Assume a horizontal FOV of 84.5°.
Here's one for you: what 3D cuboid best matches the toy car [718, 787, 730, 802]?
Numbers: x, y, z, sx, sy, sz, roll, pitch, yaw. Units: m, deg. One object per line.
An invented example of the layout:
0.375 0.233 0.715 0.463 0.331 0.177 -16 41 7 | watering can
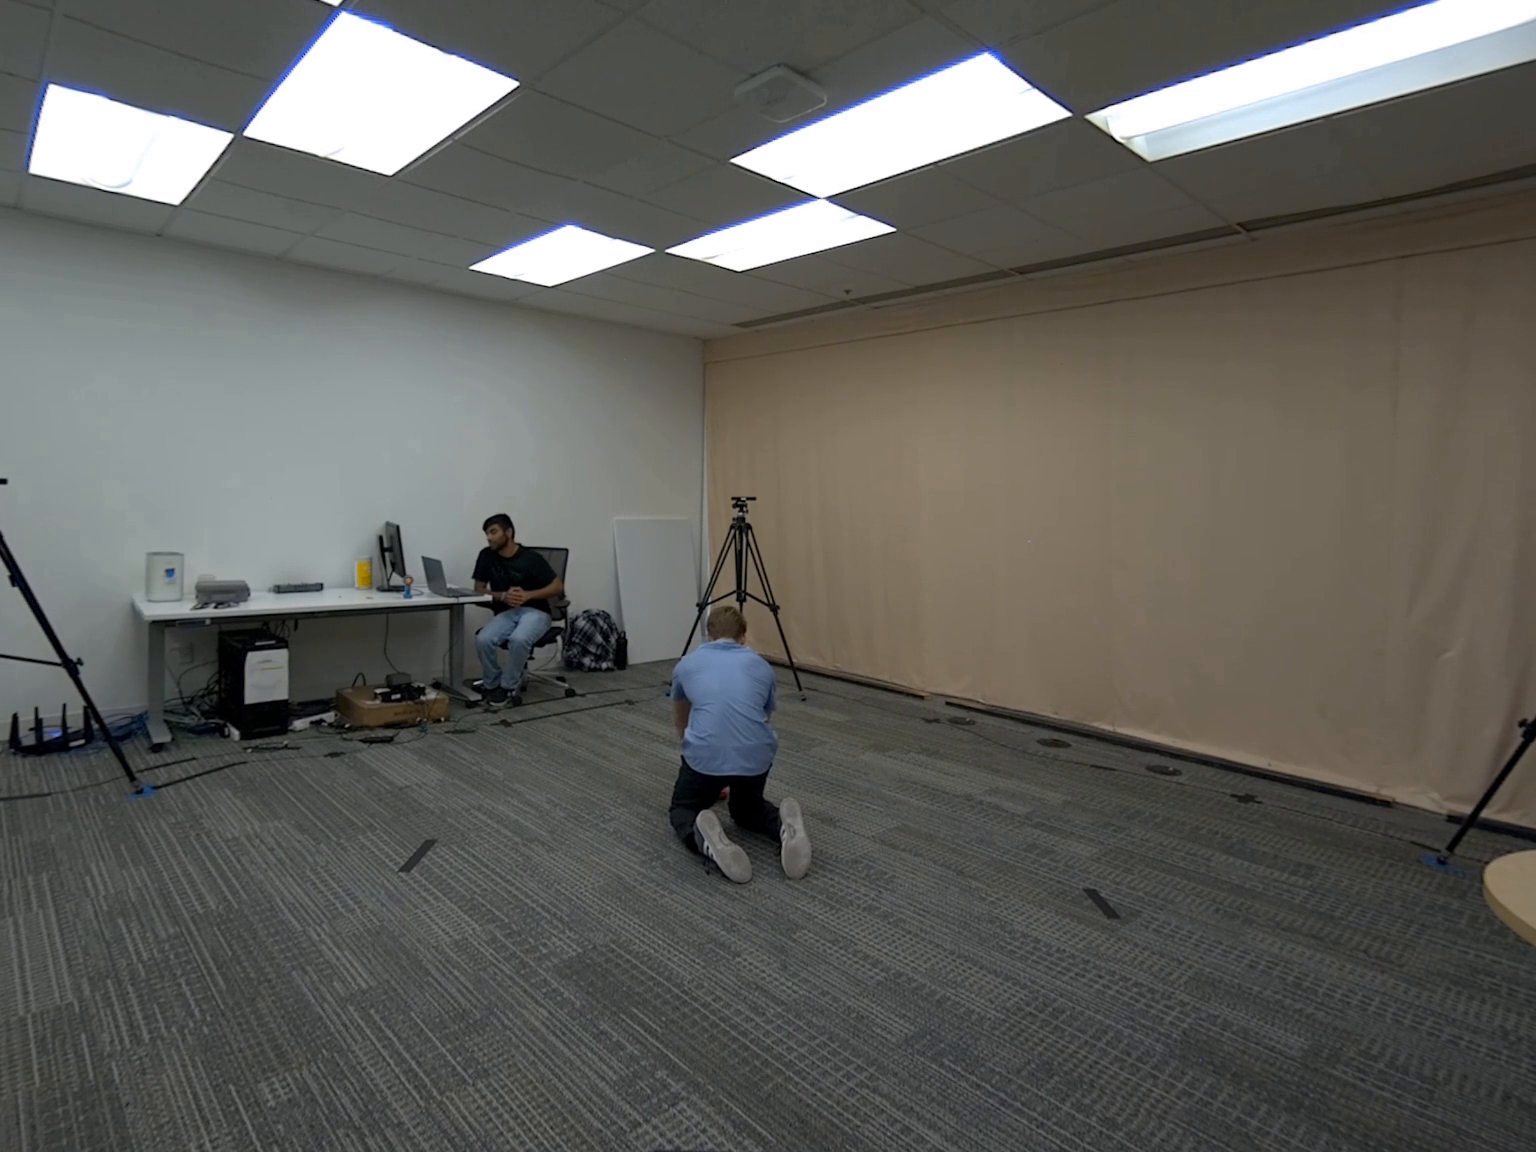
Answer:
-0.309 1.002 3.977 0.127 0.082 0.262 1 14 -32 | toy car
